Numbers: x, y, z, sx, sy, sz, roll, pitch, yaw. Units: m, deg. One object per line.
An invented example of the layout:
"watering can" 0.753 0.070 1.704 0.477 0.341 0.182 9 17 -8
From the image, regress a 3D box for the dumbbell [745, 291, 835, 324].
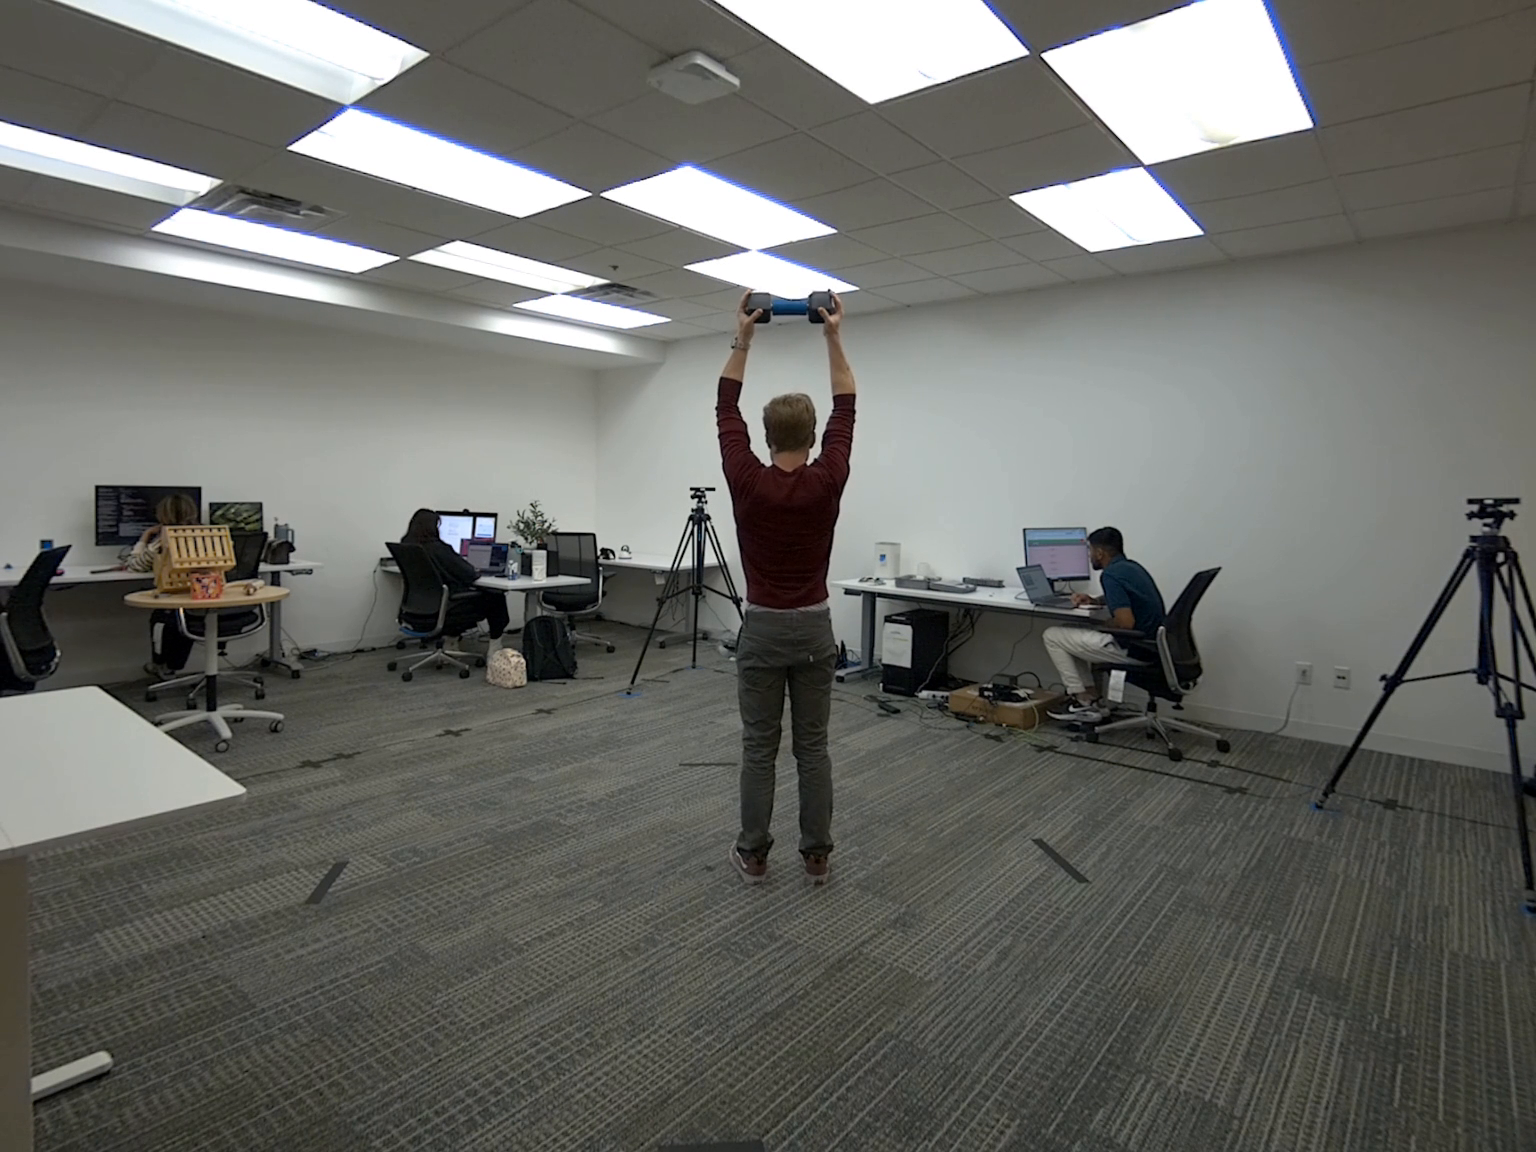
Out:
"dumbbell" 0.070 -0.939 2.987 0.294 0.106 0.125 0 25 2
